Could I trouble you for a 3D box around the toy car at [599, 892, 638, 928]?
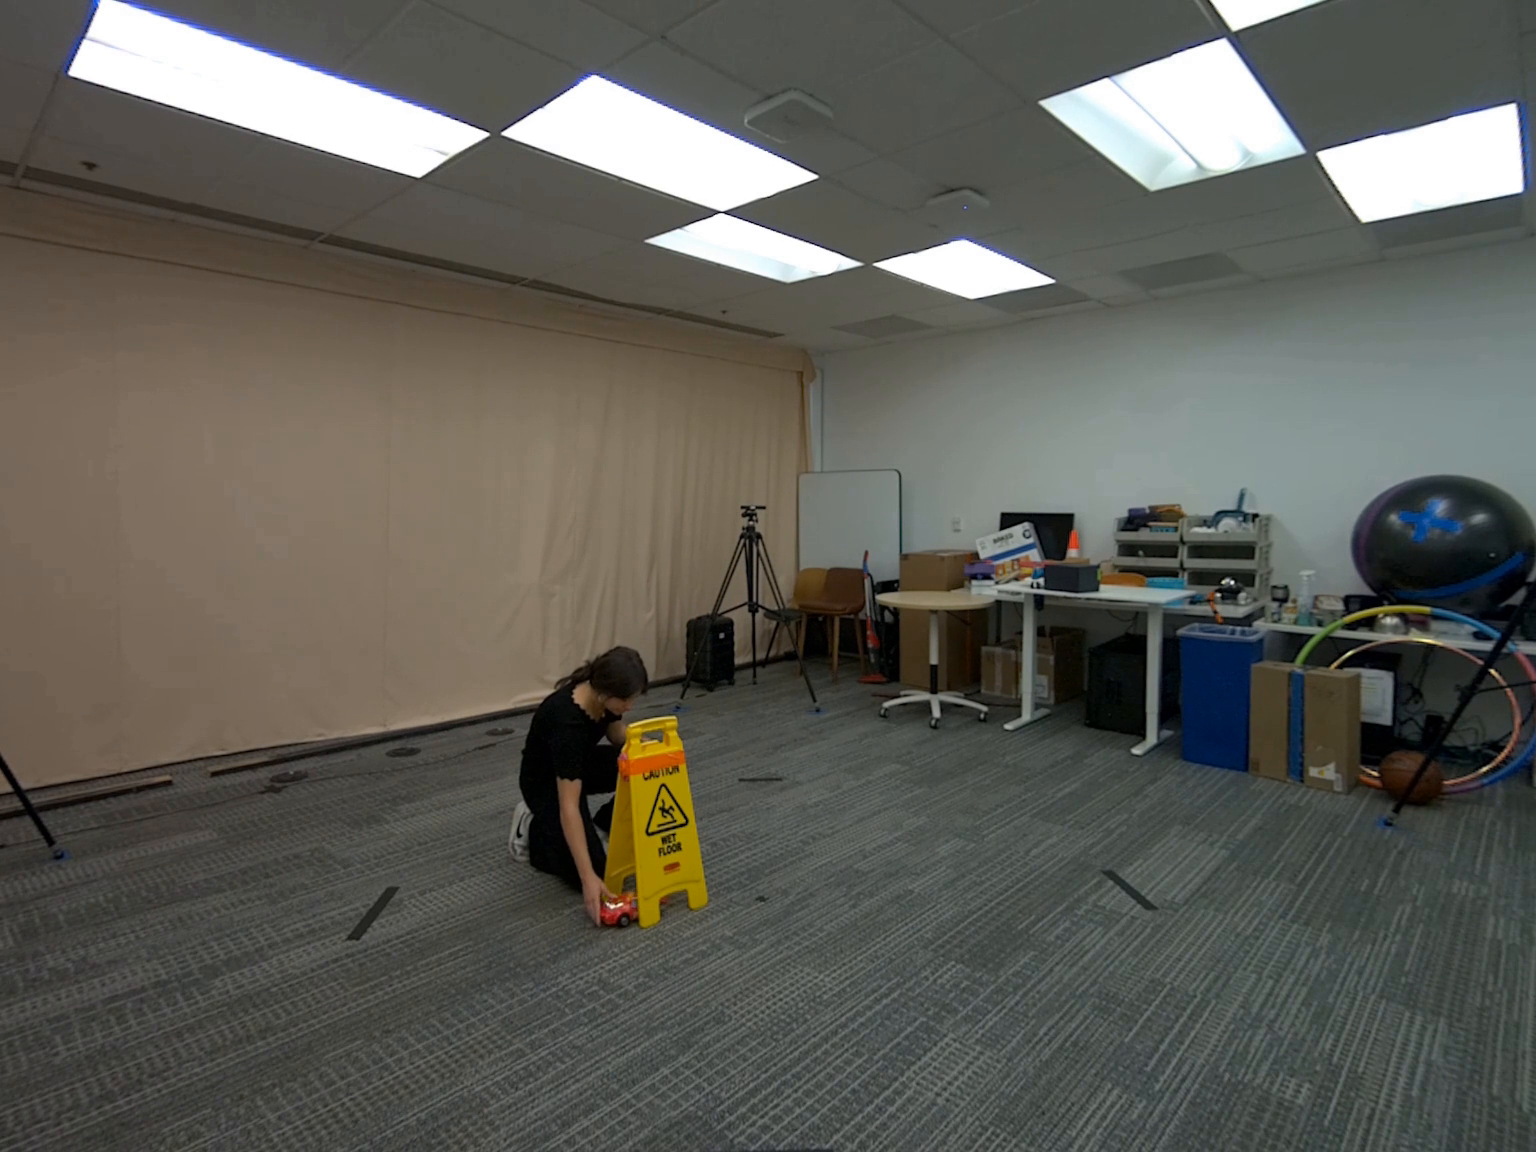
[{"bbox_3d":[-0.472,1.125,2.864,0.246,0.083,0.134,9,-3,-37],"label":"toy car"}]
